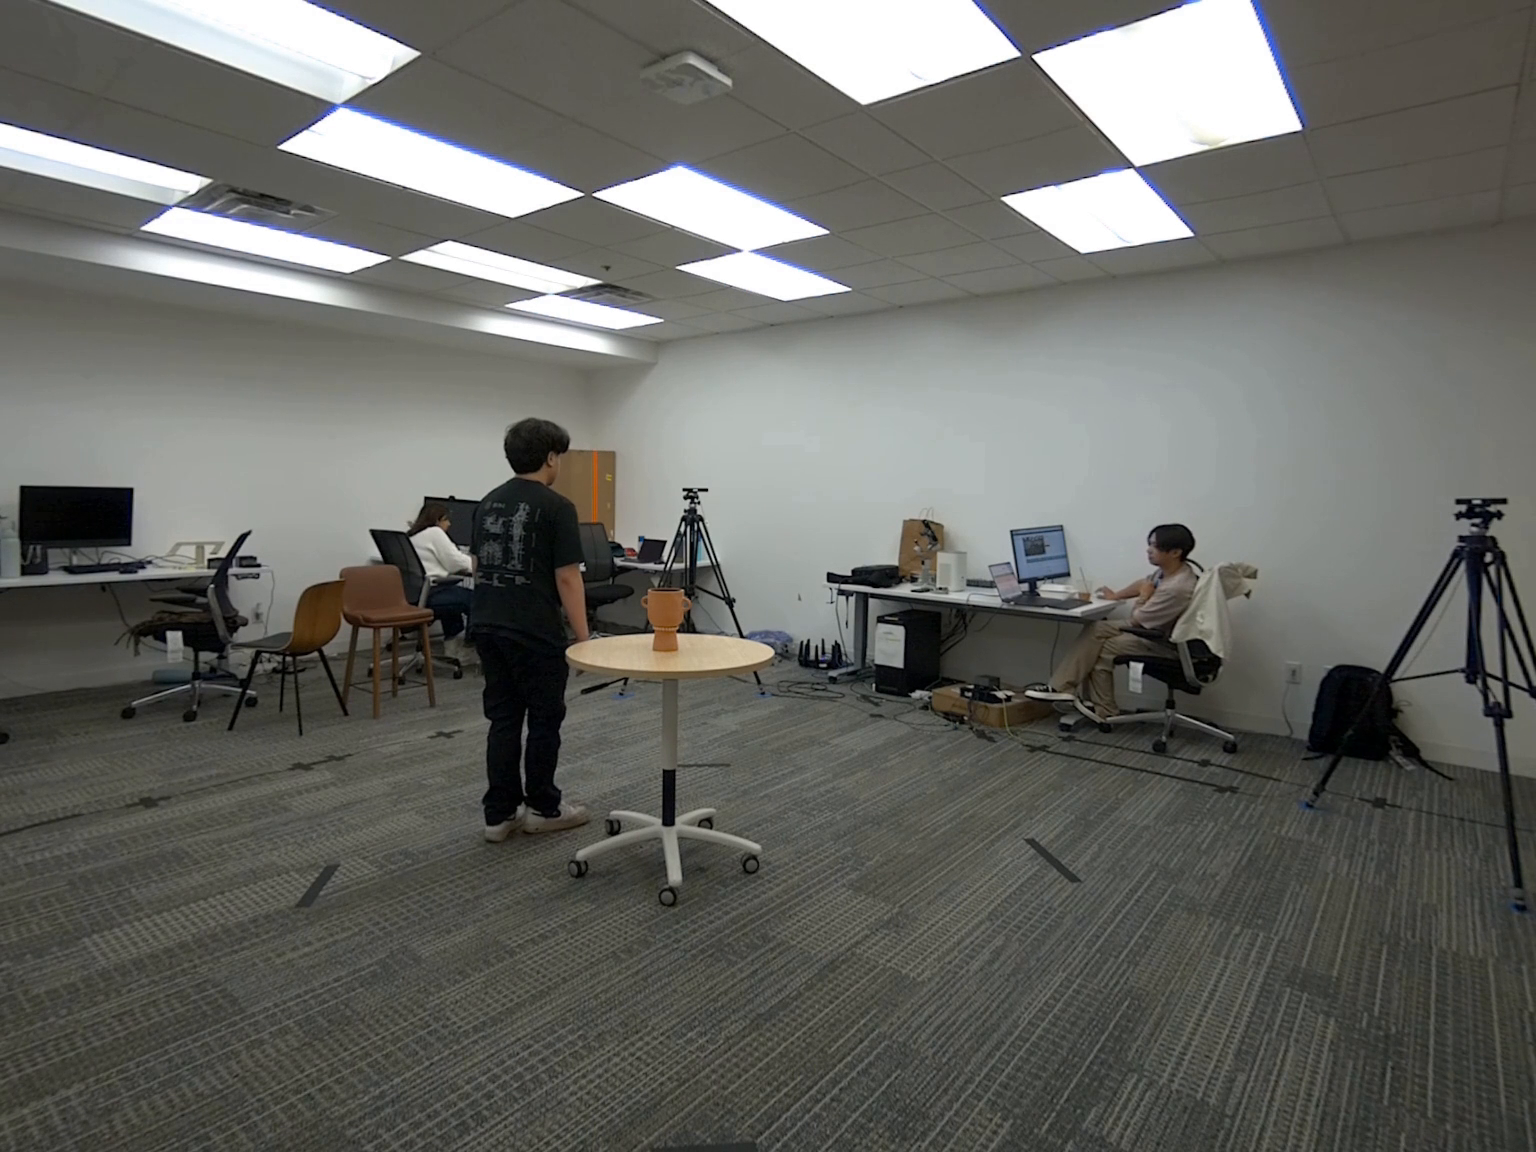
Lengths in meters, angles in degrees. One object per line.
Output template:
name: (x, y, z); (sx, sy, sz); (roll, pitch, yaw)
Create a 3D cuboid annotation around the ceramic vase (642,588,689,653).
ceramic vase: (-0.389, 0.160, 3.149); (0.131, 0.219, 0.164); (-2, 5, -34)
